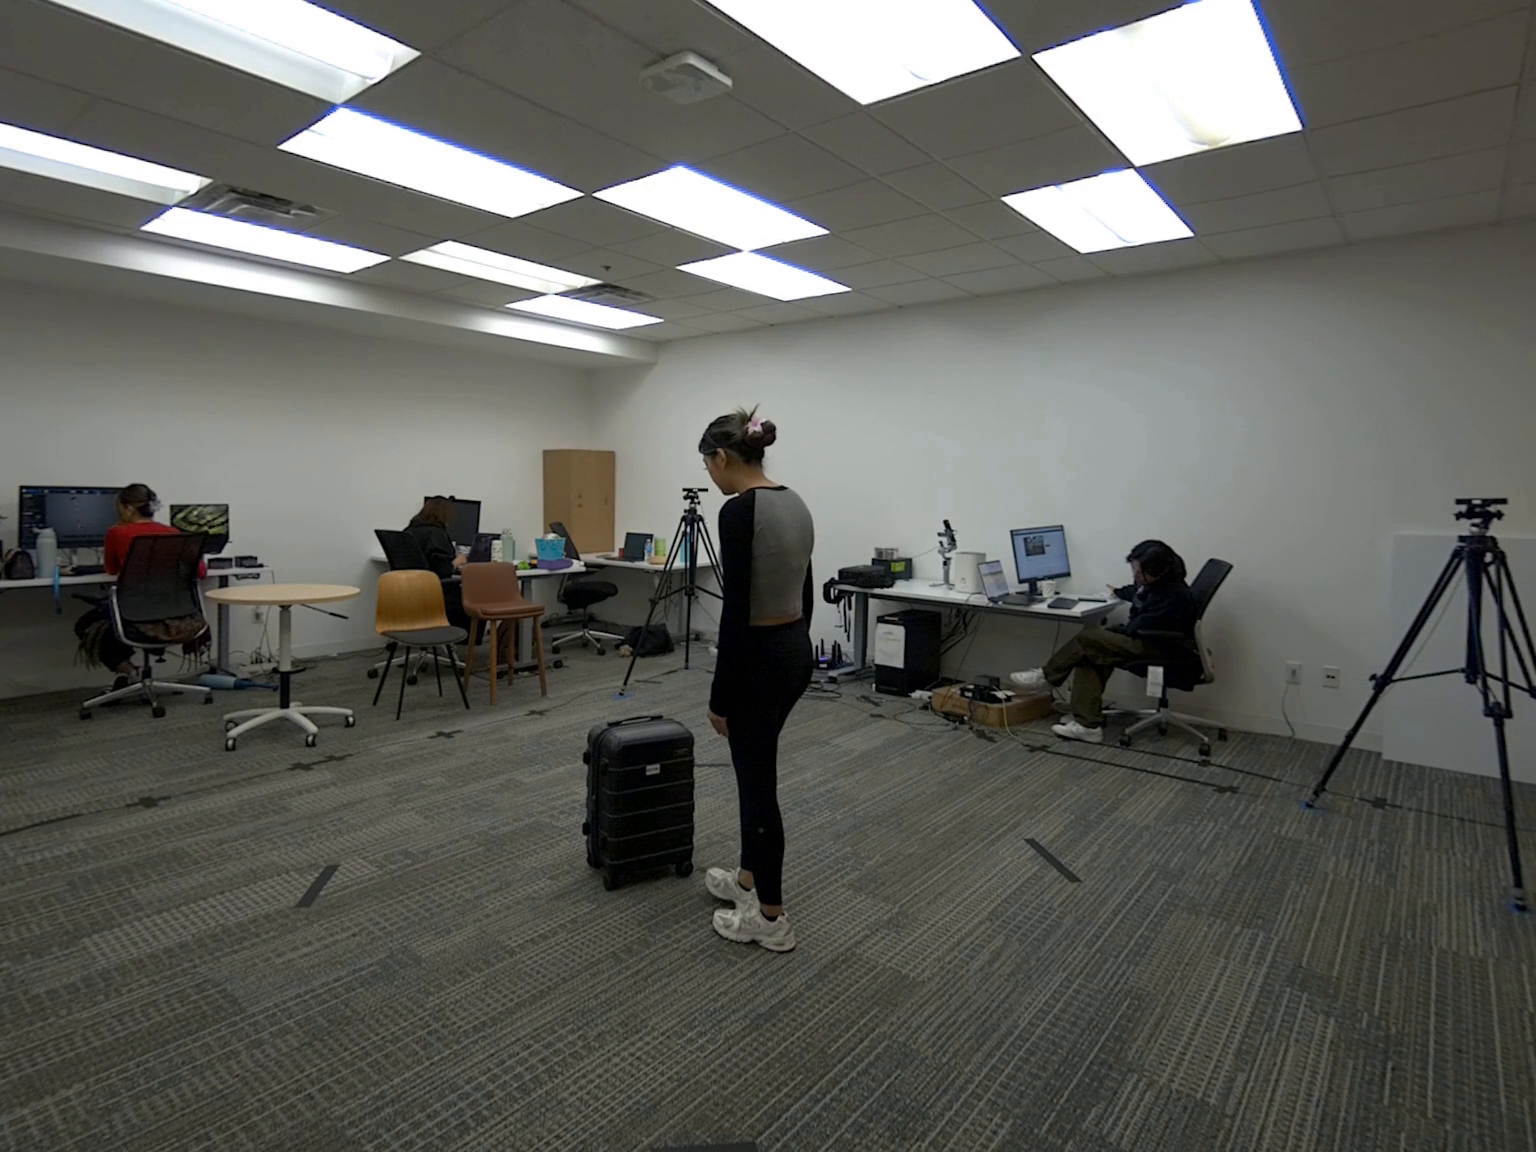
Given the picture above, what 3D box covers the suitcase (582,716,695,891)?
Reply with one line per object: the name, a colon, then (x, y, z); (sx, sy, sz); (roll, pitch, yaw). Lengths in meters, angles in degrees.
suitcase: (-0.468, 0.789, 3.077); (0.365, 0.548, 0.256); (0, 4, -31)
